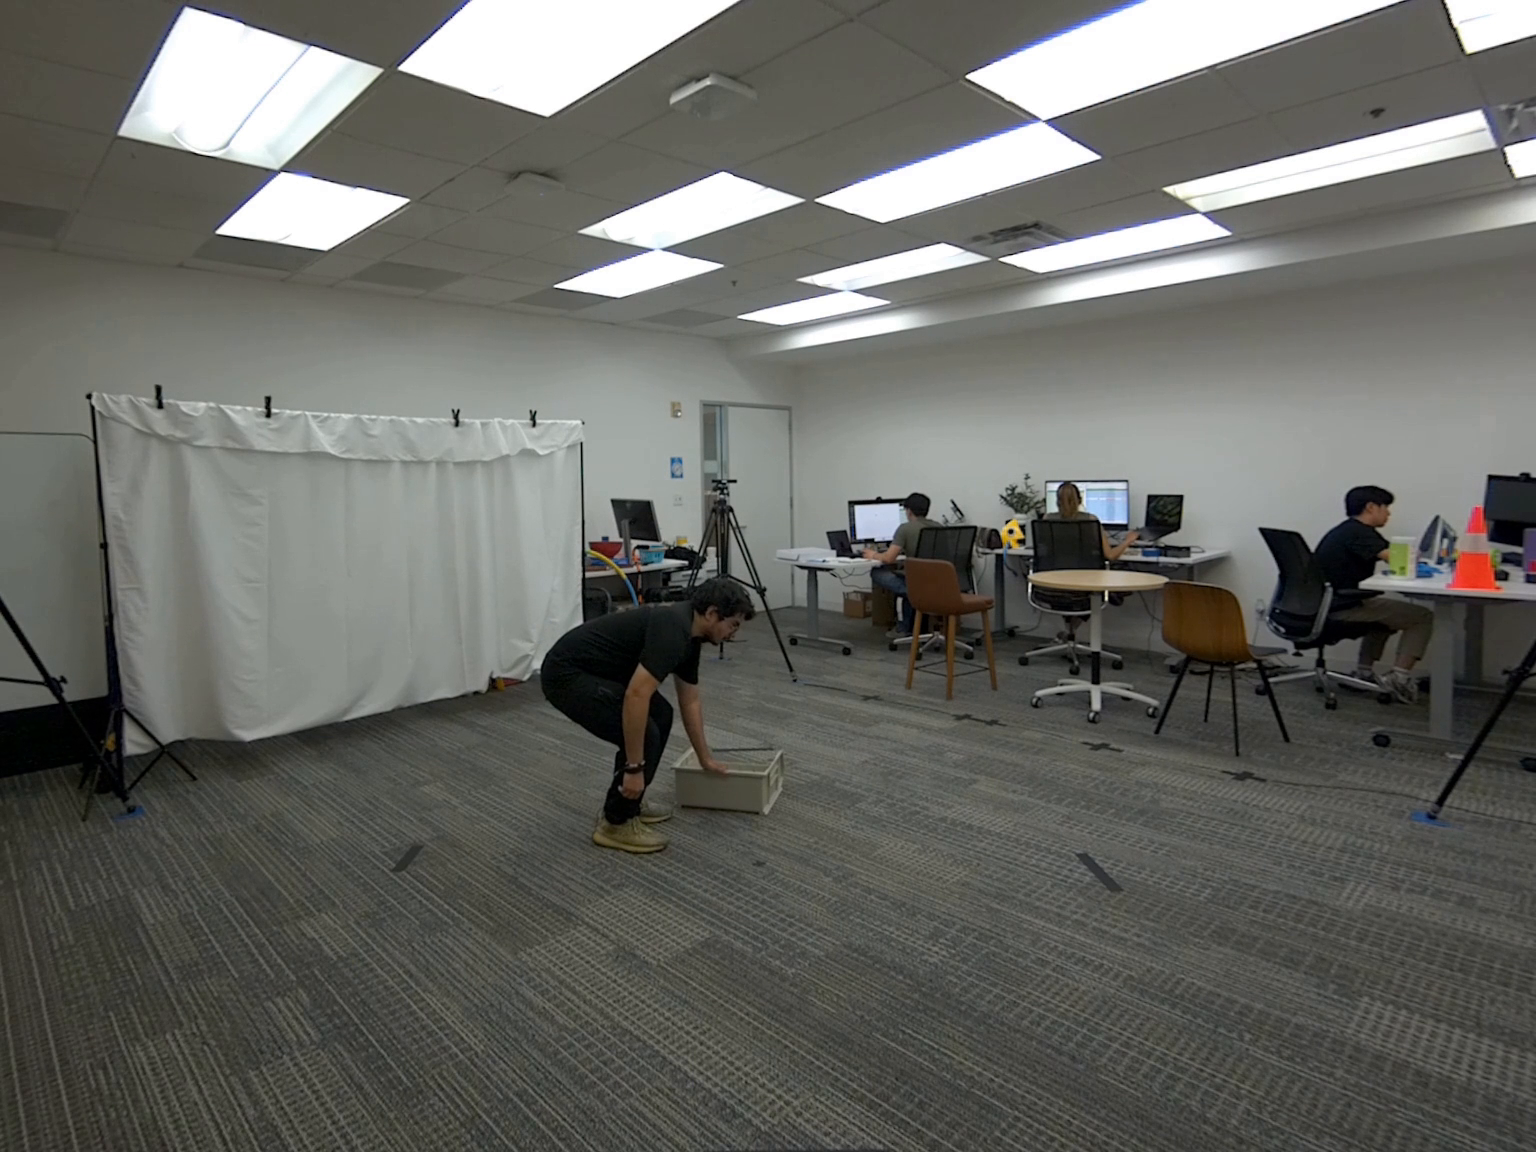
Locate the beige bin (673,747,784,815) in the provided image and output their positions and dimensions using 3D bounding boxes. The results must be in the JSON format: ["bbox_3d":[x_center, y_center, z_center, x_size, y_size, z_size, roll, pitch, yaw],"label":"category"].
[{"bbox_3d":[-0.168,0.887,3.782,0.429,0.188,0.374,1,7,15],"label":"beige bin"}]
